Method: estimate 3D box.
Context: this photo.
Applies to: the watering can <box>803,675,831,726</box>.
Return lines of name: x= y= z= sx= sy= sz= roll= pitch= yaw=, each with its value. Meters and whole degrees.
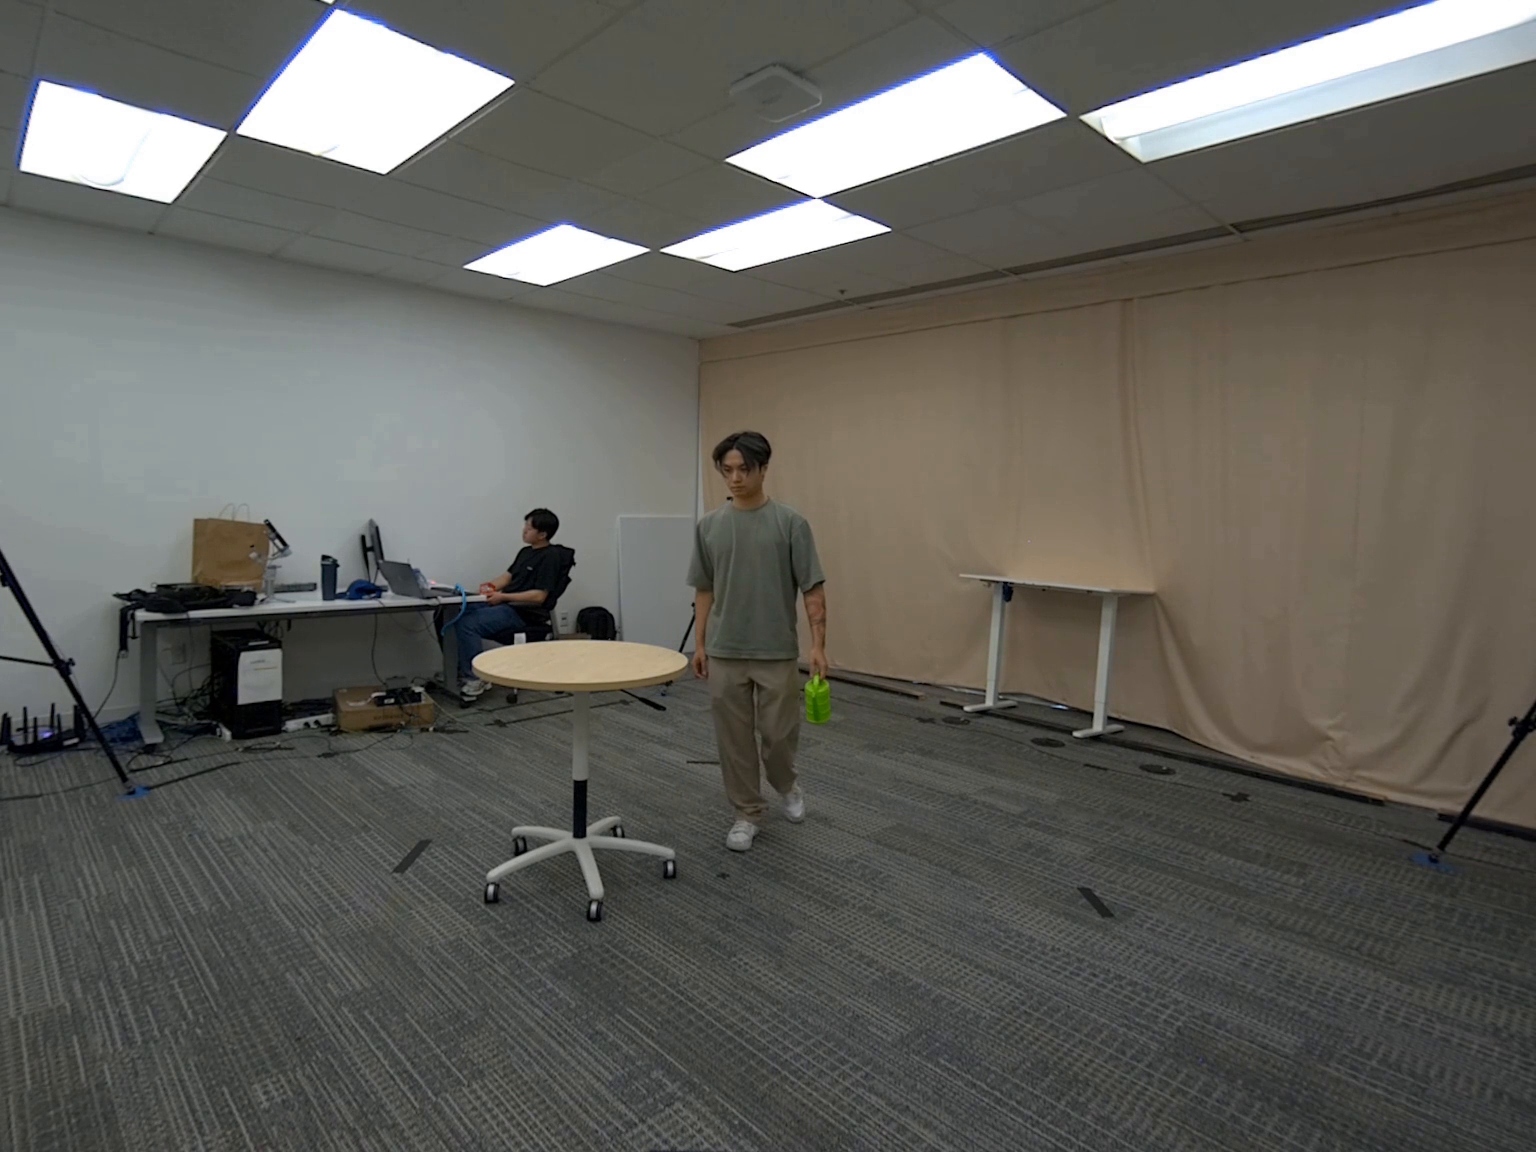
watering can: x=0.165 y=0.472 z=3.183 sx=0.099 sy=0.175 sz=0.277 roll=0 pitch=15 yaw=17
